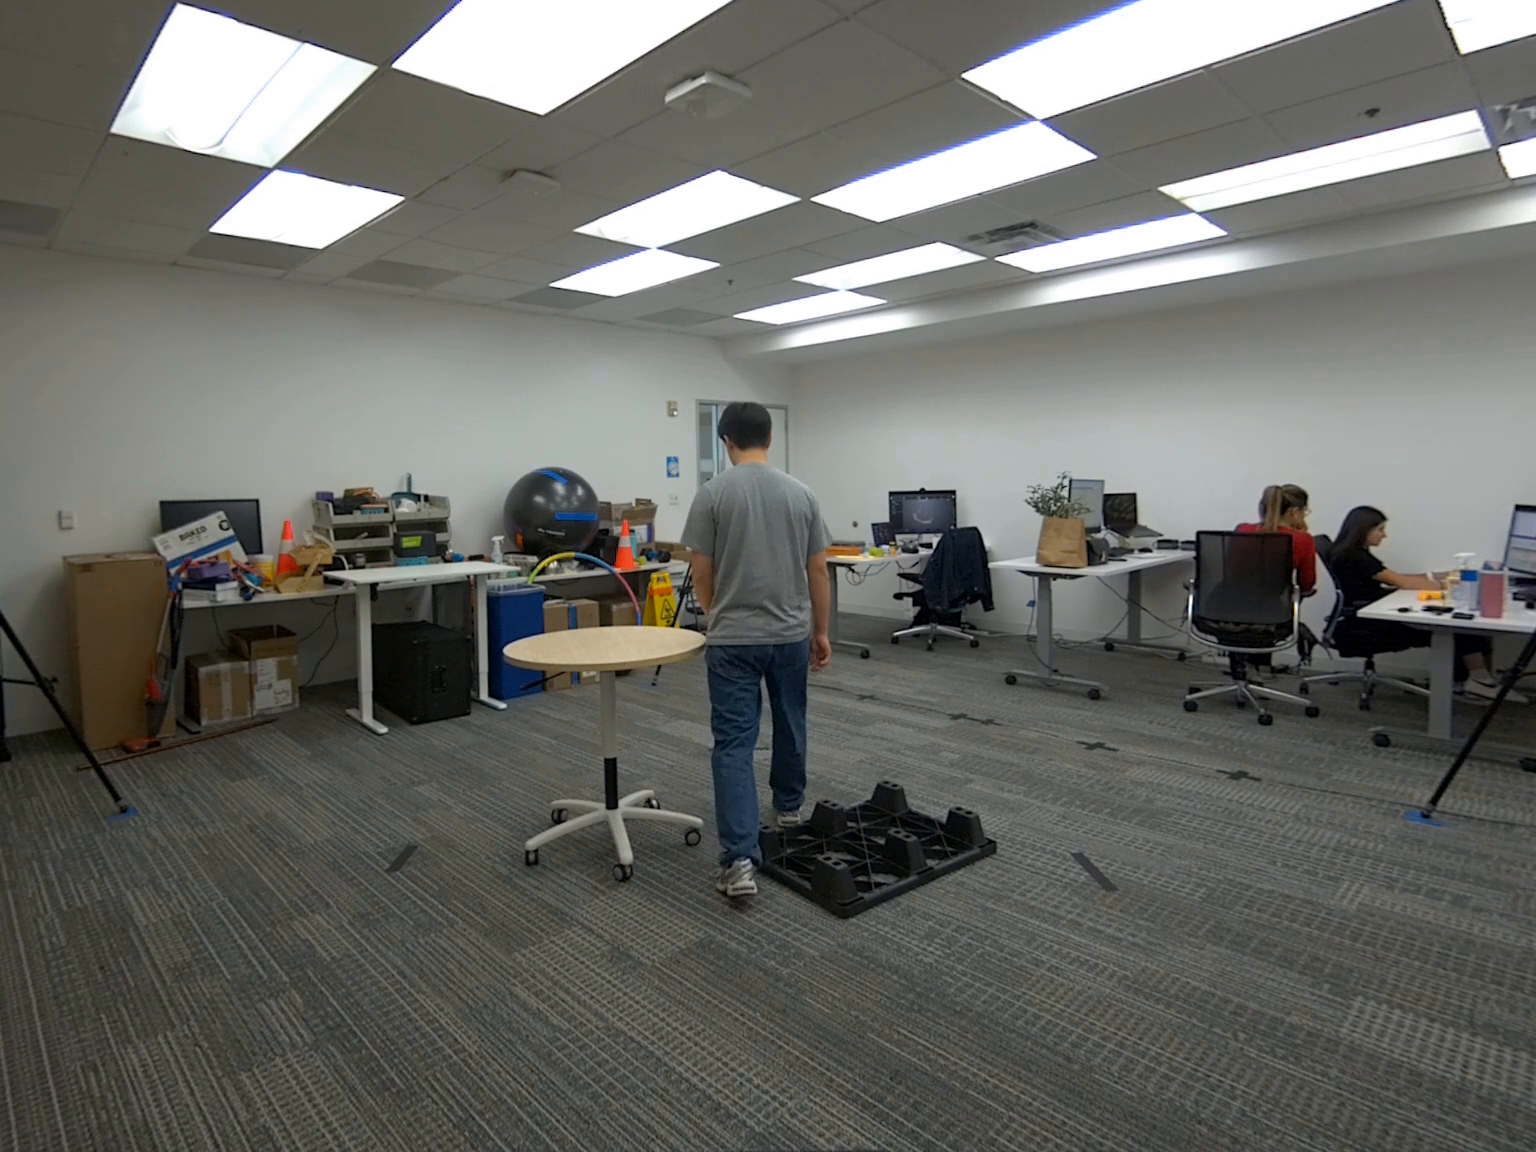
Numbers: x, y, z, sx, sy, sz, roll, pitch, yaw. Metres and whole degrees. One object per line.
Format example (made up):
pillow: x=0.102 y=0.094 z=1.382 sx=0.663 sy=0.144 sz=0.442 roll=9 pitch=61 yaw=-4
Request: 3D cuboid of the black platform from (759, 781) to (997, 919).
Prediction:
black platform: x=0.360 y=0.966 z=3.166 sx=0.785 sy=0.143 sz=0.623 roll=-5 pitch=8 yaw=-37
